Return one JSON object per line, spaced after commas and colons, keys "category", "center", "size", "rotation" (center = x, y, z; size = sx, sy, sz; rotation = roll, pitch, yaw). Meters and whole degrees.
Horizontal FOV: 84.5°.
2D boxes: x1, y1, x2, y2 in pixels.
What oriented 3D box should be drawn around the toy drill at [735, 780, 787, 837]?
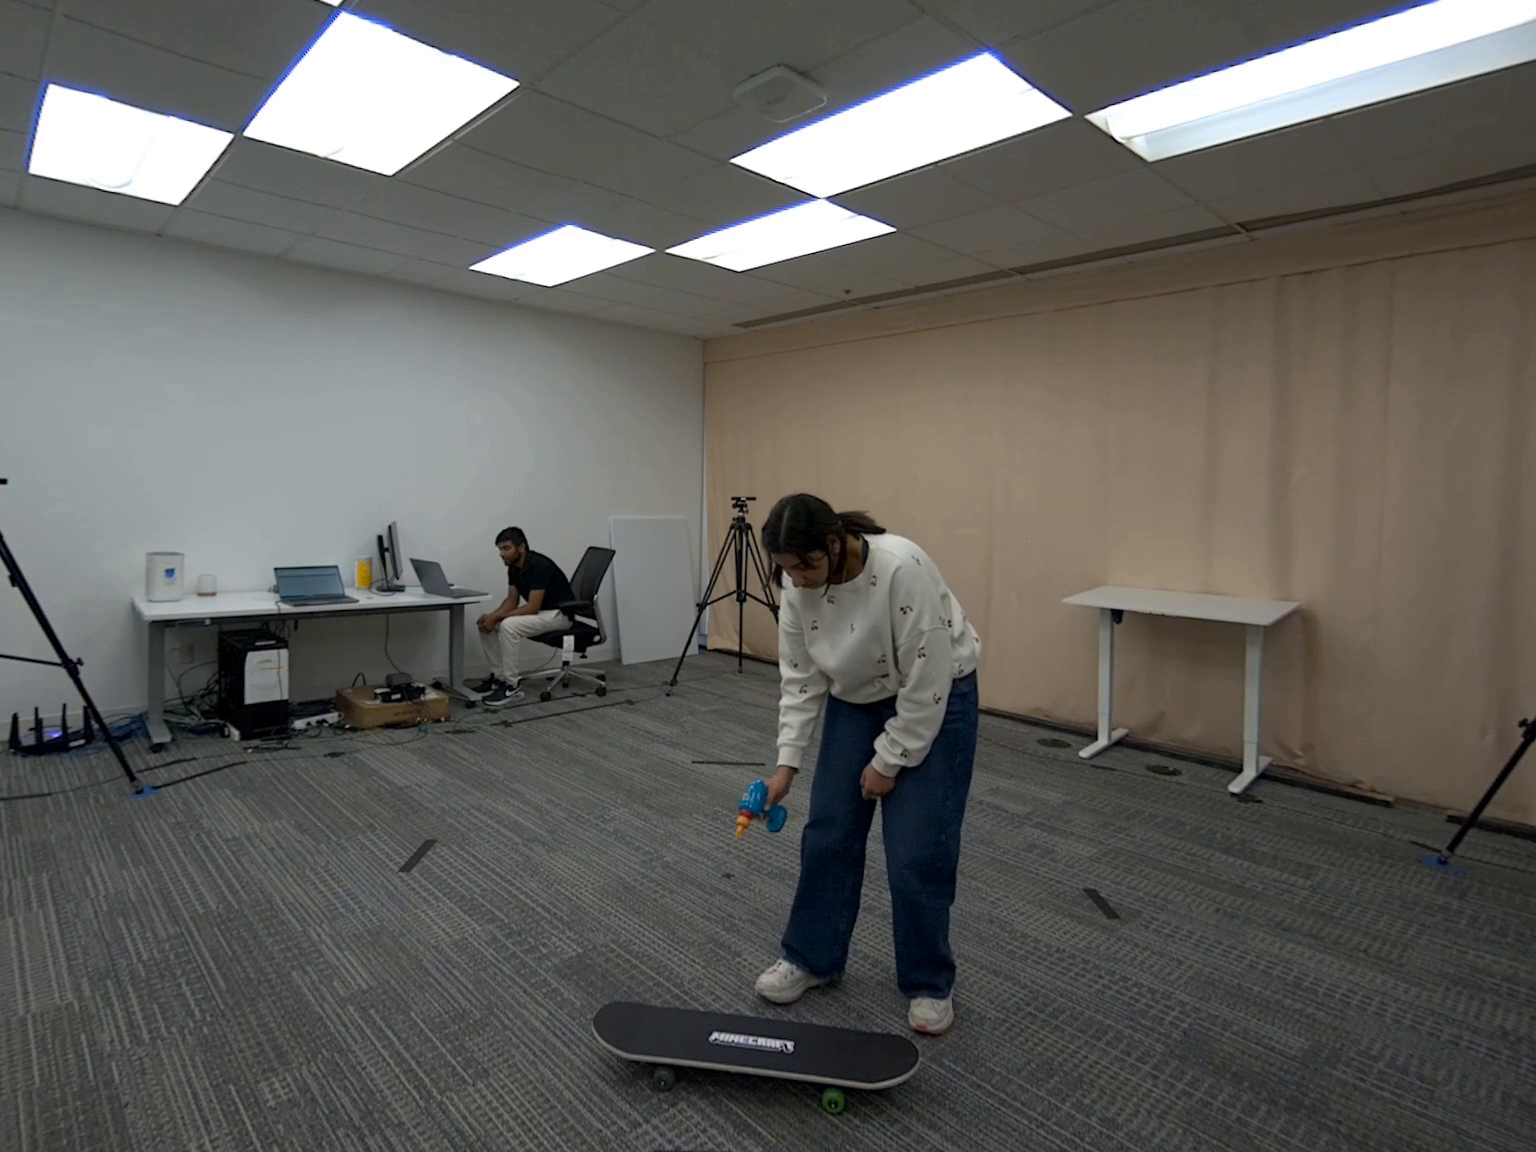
{"category": "toy drill", "center": [-0.030, 0.626, 2.189], "size": [0.062, 0.142, 0.171], "rotation": [-17, 34, 40]}
